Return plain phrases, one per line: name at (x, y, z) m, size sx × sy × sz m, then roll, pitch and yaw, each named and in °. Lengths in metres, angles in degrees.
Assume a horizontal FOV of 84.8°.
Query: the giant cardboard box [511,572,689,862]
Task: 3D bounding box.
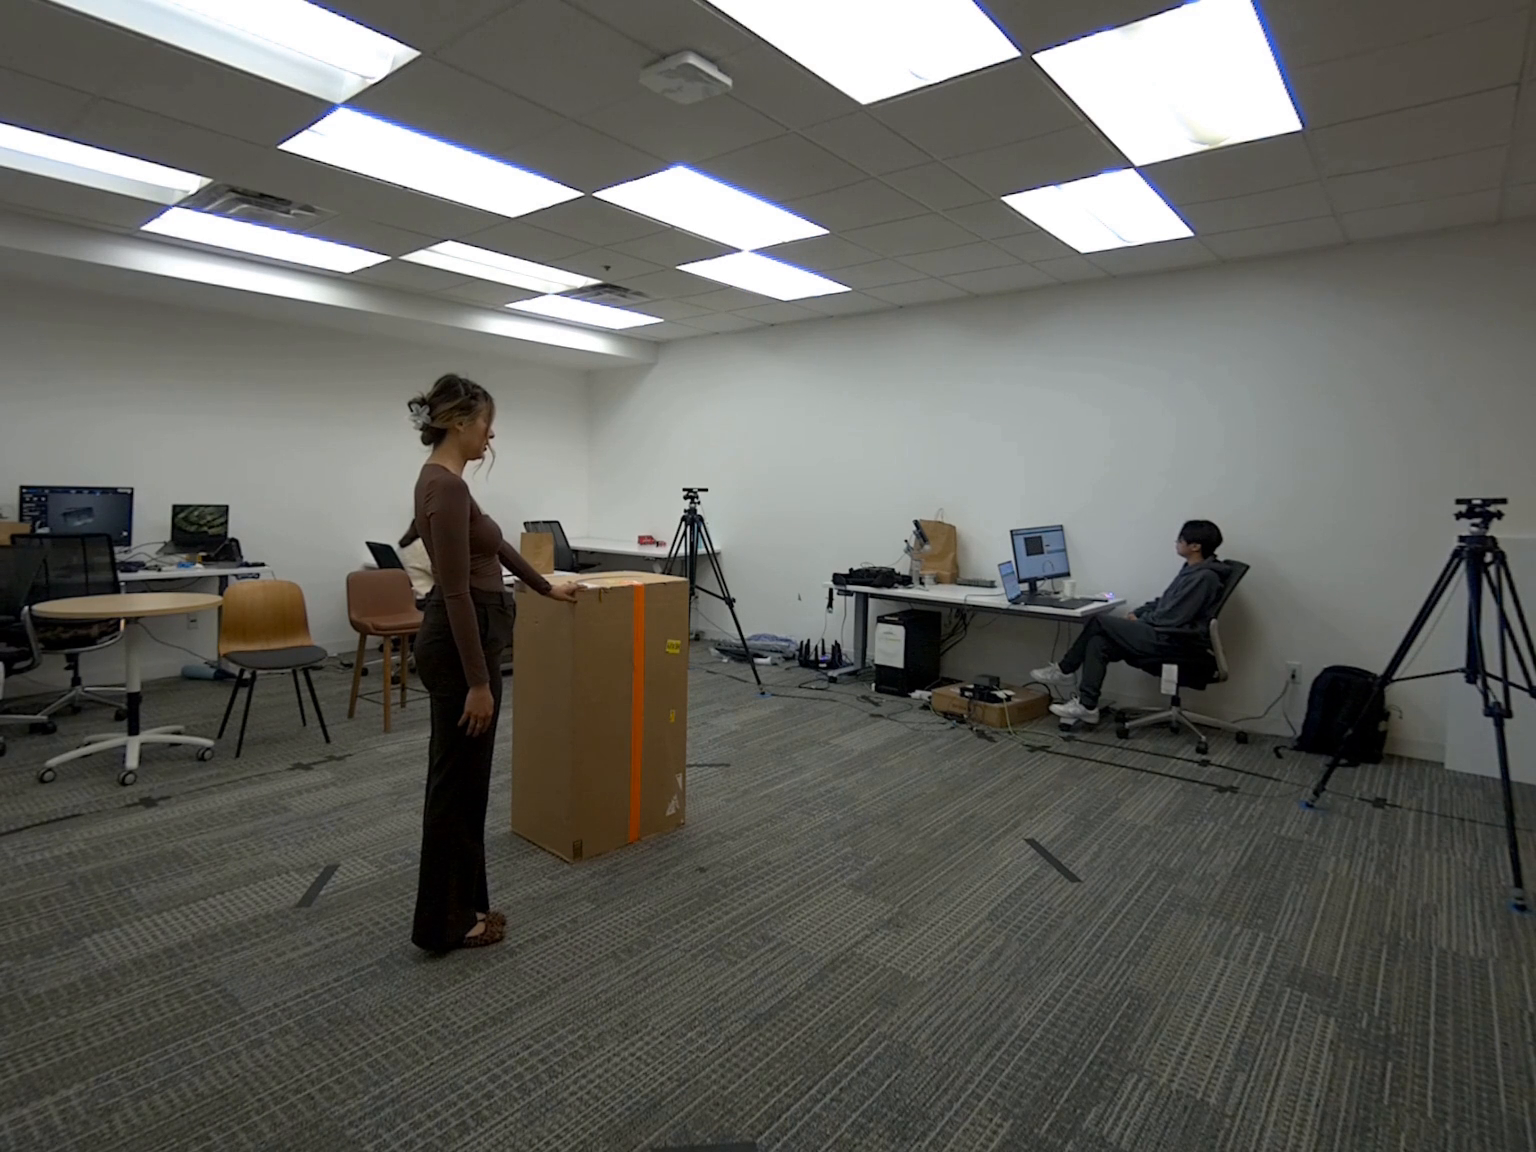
giant cardboard box at (-0.688, 0.519, 3.455) m, size 0.462 × 1.024 × 0.566 m, roll 5°, pitch 5°, yaw 45°
